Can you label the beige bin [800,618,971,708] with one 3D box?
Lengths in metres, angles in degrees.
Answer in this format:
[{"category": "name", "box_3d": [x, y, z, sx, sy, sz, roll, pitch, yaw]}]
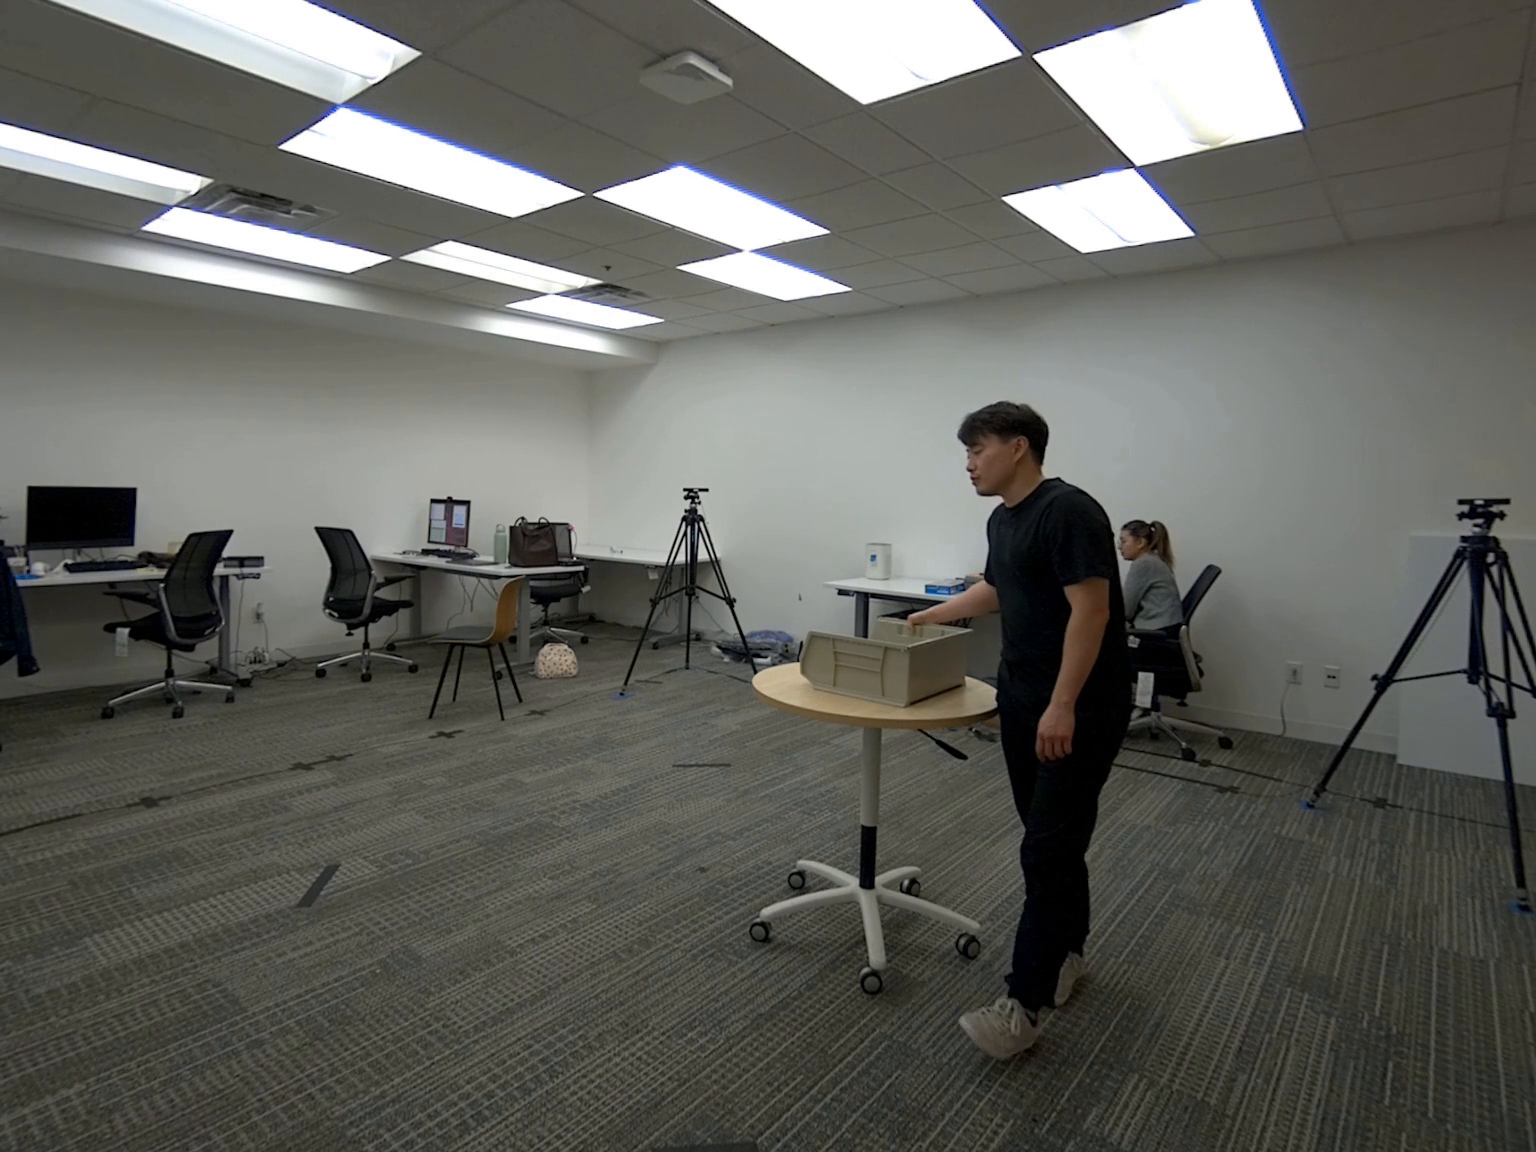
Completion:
[{"category": "beige bin", "box_3d": [0.363, 0.253, 2.664, 0.390, 0.188, 0.410, 7, 8, 39]}]
